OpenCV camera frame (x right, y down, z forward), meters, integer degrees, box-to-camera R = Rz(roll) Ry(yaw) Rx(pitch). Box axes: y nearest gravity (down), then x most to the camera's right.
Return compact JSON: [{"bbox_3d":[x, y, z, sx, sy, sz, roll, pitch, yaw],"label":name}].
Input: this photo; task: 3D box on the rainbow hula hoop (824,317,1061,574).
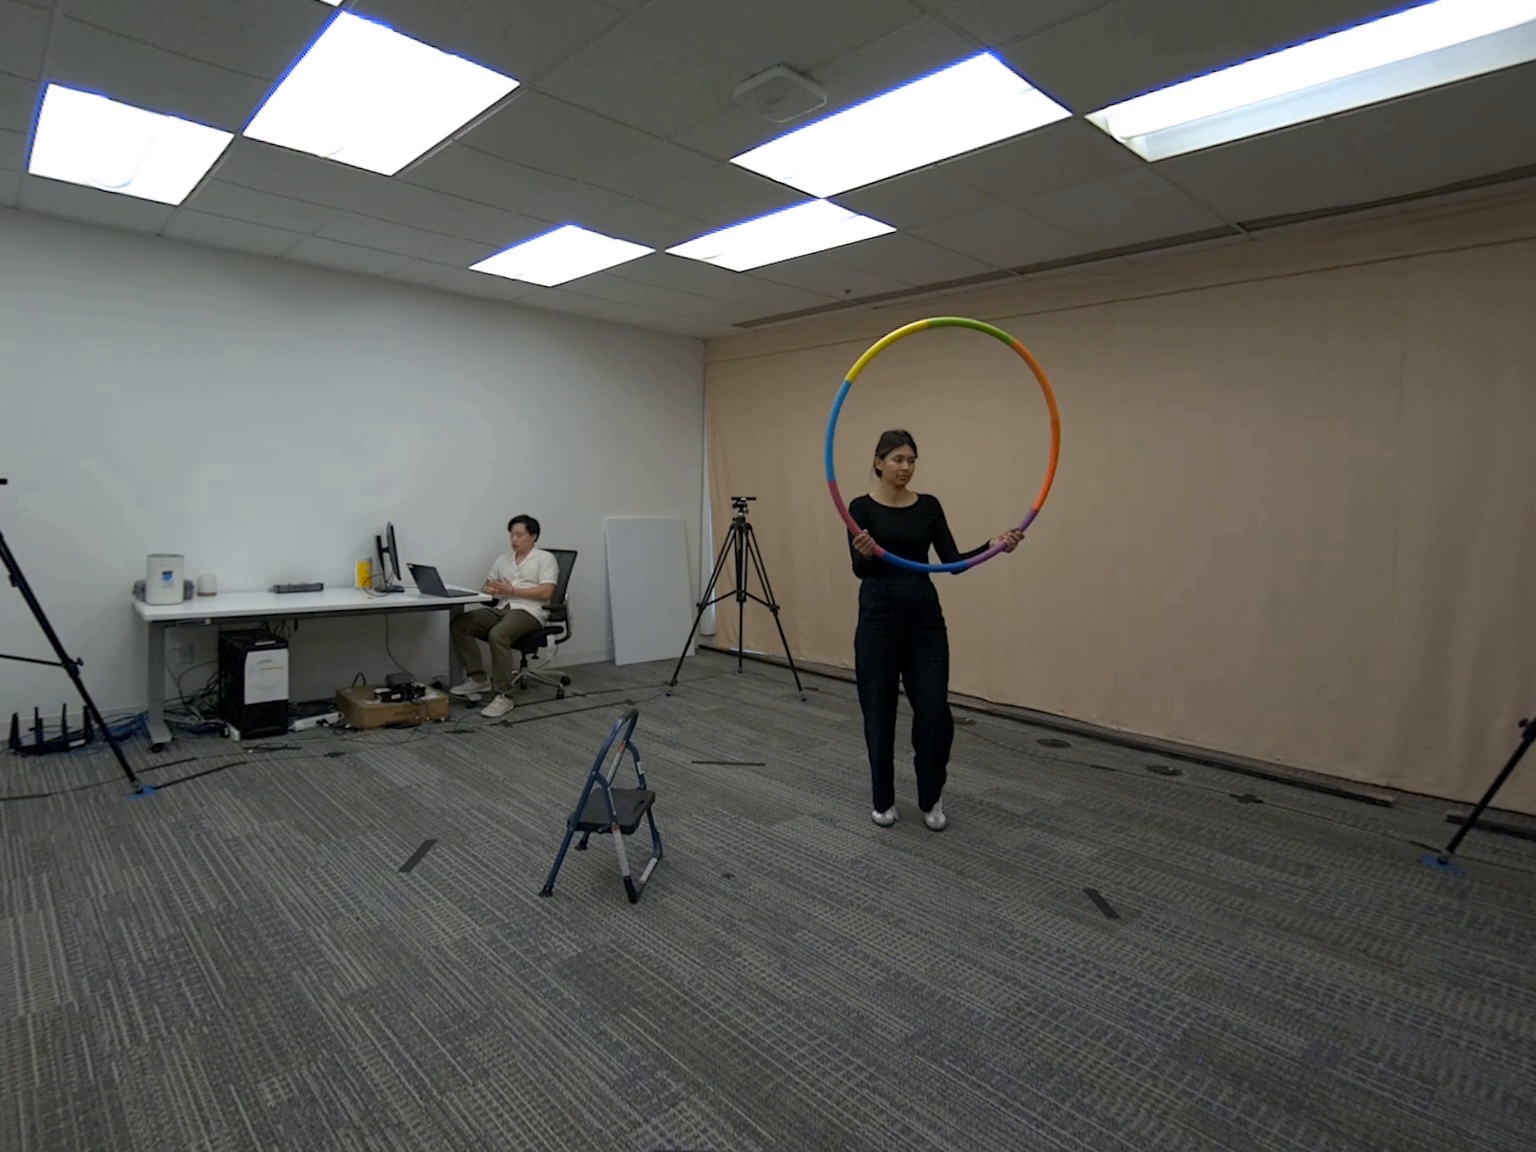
[{"bbox_3d":[0.690,-0.488,3.258,0.968,0.971,0.036,0,11,-13],"label":"rainbow hula hoop"}]
